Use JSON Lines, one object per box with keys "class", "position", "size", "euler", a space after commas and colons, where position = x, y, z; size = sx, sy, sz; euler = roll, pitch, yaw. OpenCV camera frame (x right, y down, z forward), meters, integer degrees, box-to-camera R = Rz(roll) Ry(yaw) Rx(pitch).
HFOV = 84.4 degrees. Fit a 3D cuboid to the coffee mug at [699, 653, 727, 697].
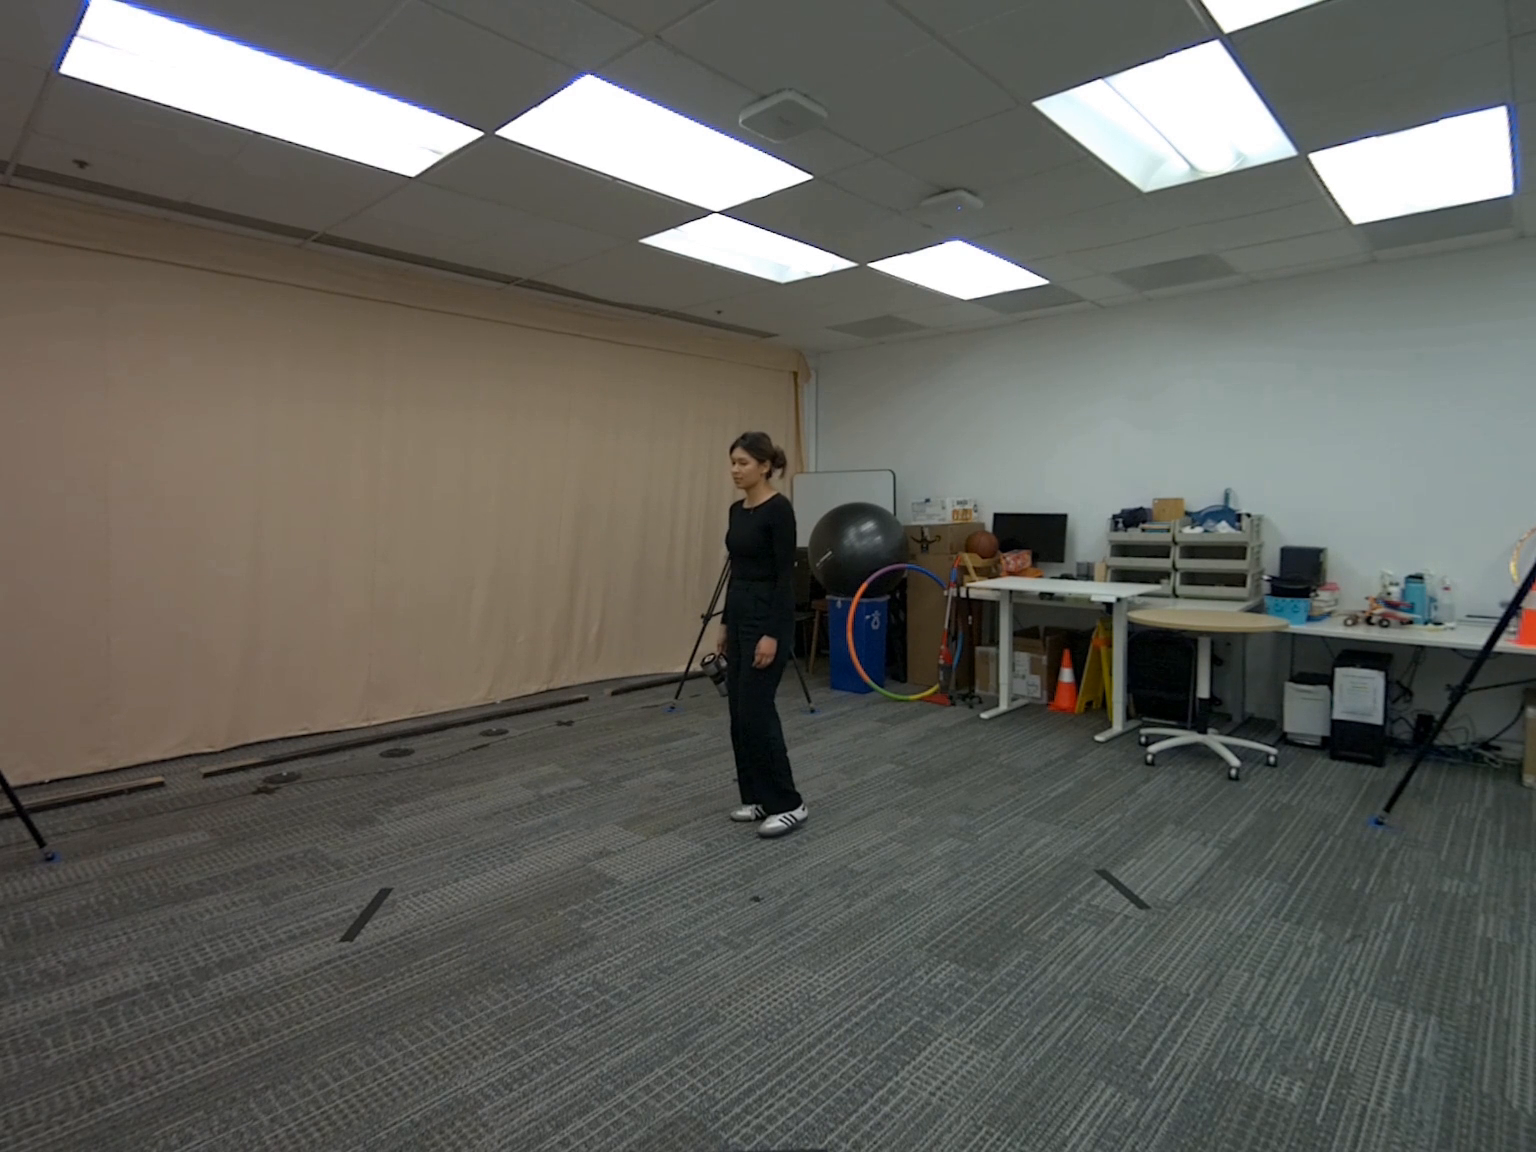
{"class": "coffee mug", "position": [-0.215, 0.469, 3.918], "size": [0.086, 0.201, 0.125], "euler": [-32, 9, -41]}
